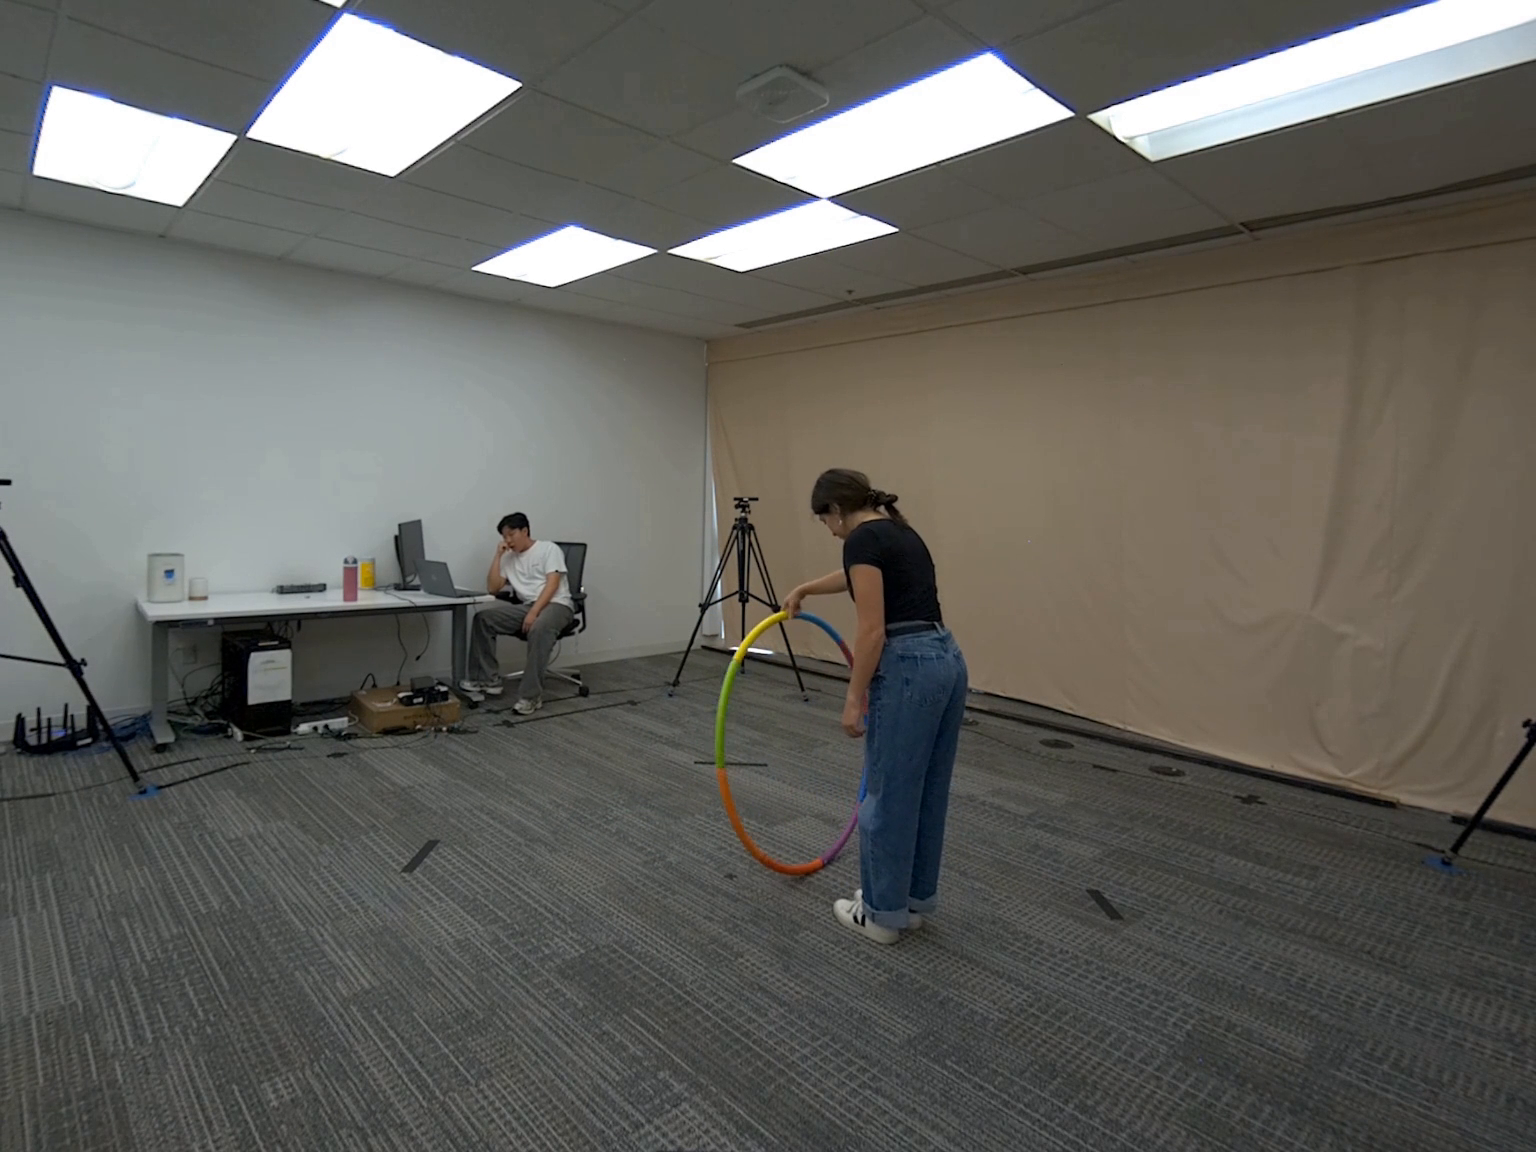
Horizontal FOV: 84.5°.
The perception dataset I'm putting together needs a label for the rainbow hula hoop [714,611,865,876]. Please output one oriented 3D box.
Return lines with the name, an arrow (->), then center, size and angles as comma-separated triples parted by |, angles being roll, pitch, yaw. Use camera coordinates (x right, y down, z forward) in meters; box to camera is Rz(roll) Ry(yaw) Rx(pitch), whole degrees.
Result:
rainbow hula hoop -> 0.129, 0.627, 3.223 | 0.036, 0.982, 0.957 | -11, -5, 38
